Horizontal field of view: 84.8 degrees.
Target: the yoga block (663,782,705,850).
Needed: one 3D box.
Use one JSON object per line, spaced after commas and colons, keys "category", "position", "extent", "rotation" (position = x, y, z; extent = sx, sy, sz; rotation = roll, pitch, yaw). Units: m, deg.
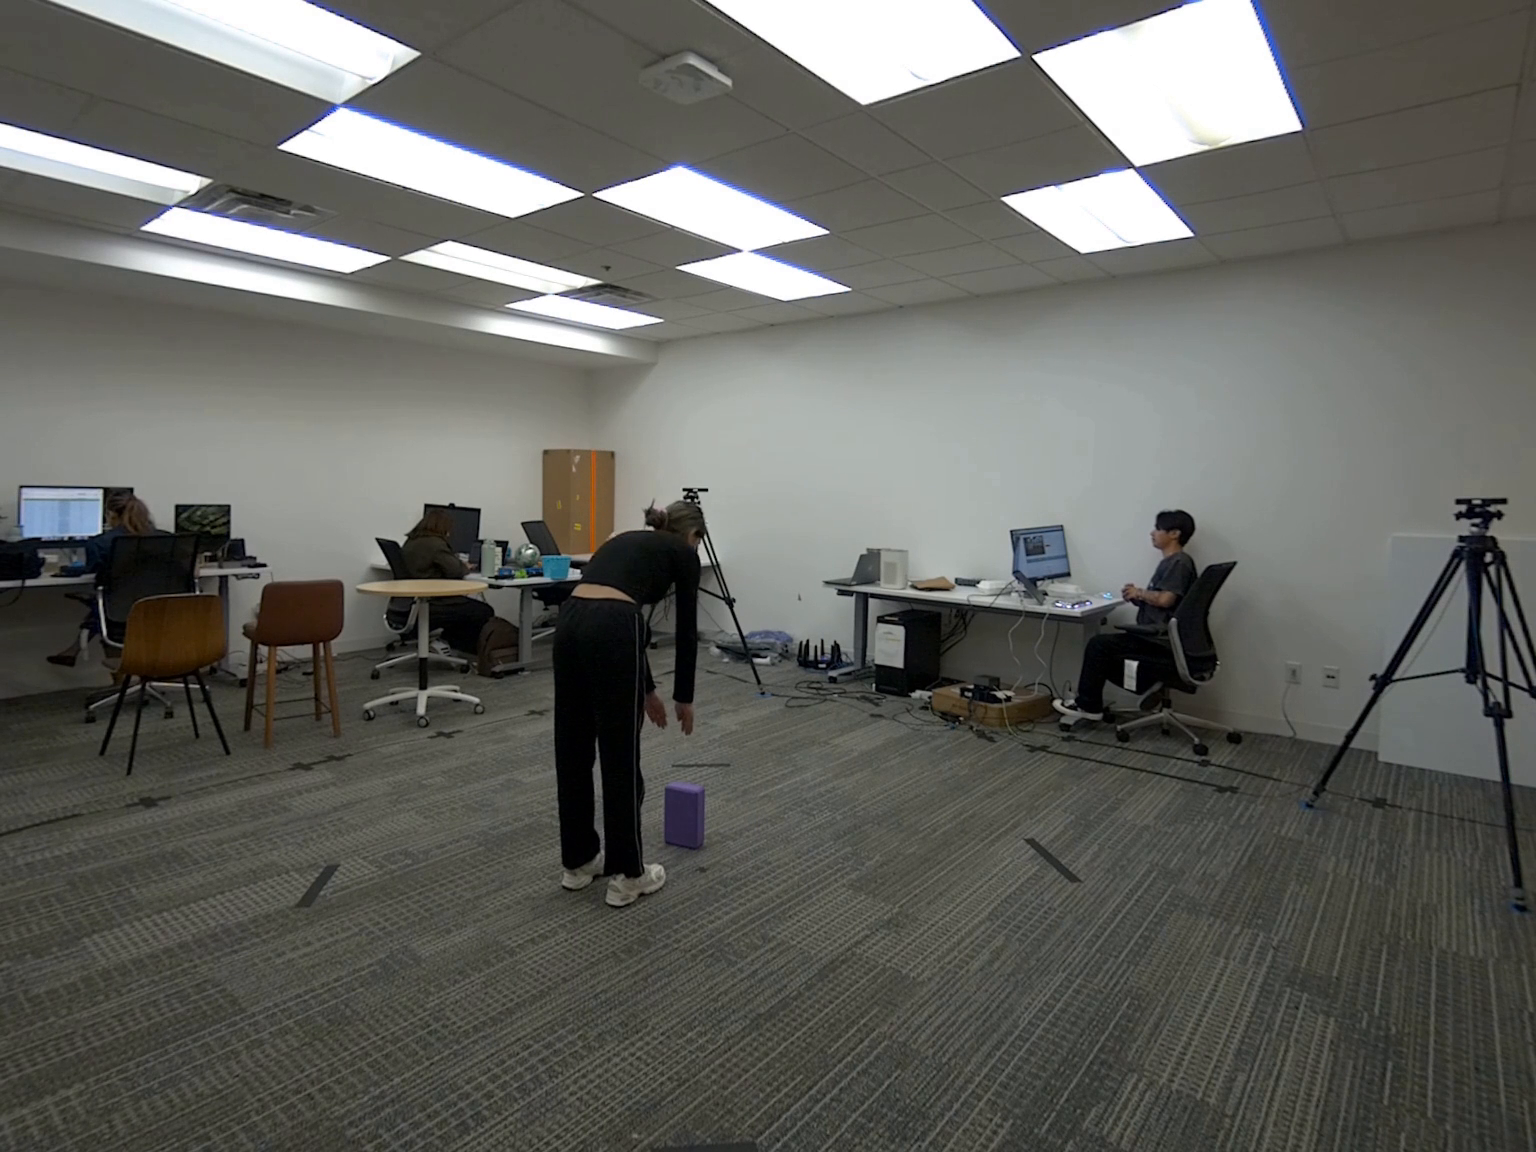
{"category": "yoga block", "position": [-0.340, 0.931, 3.331], "extent": [0.153, 0.229, 0.075], "rotation": [2, 3, 24]}
